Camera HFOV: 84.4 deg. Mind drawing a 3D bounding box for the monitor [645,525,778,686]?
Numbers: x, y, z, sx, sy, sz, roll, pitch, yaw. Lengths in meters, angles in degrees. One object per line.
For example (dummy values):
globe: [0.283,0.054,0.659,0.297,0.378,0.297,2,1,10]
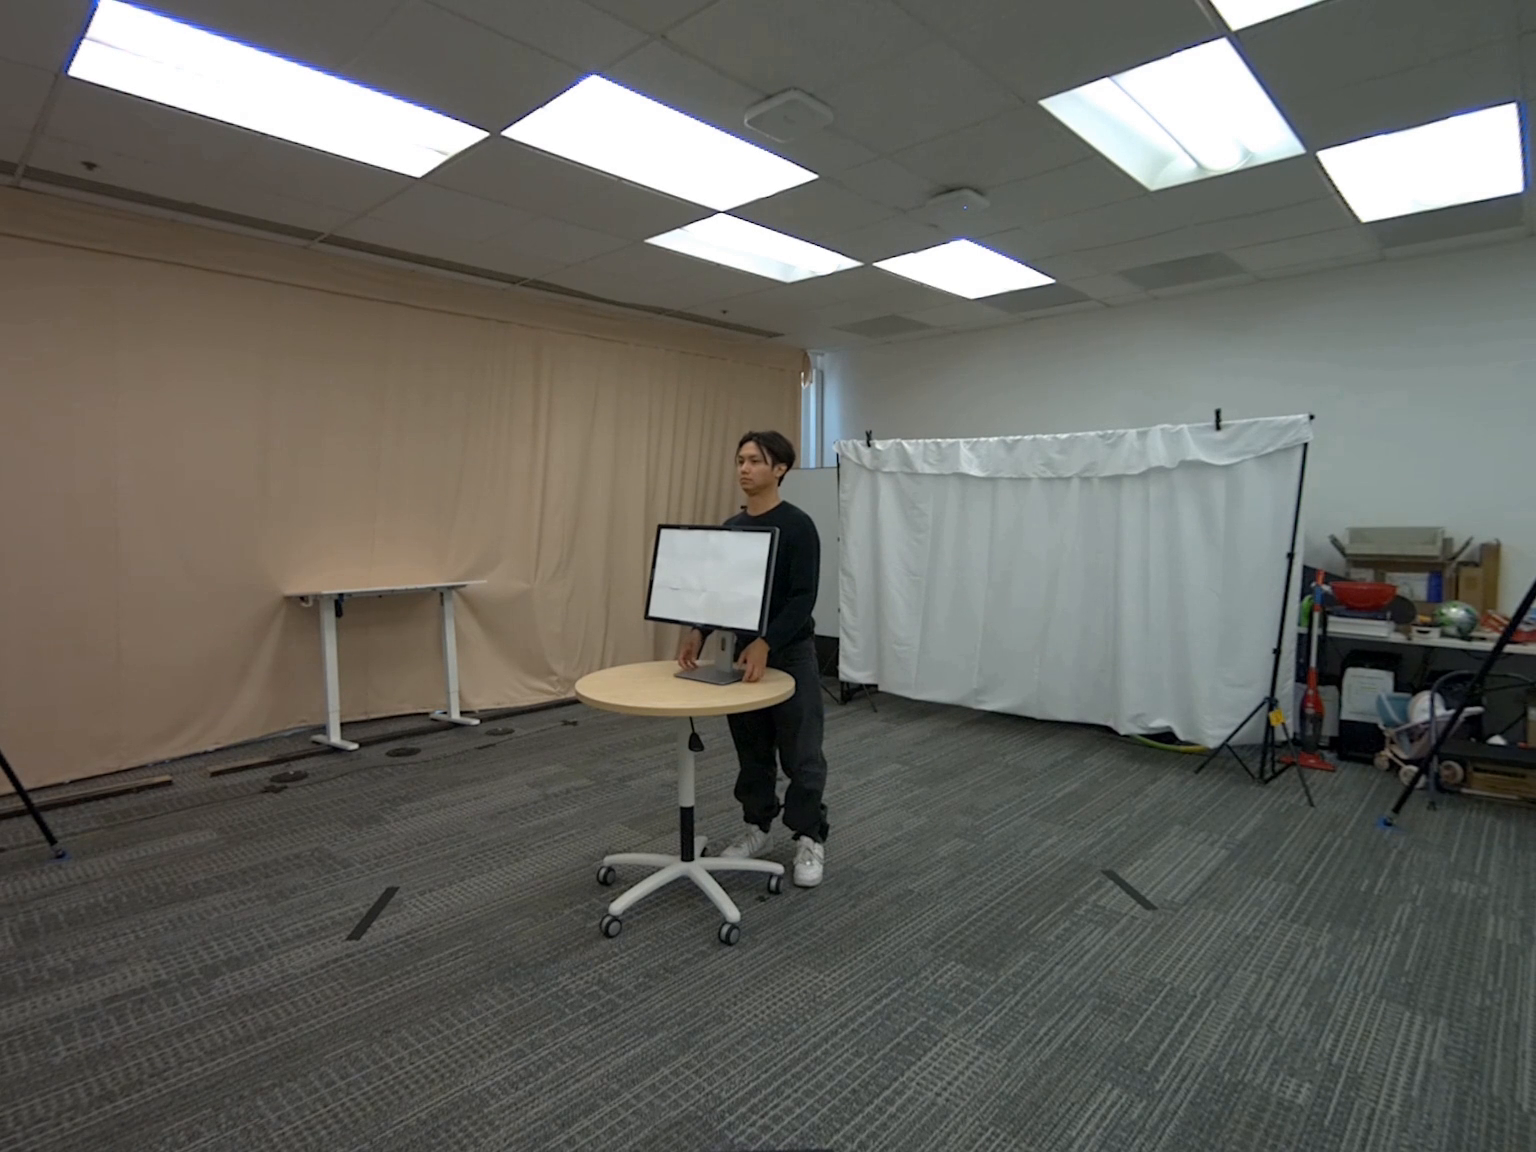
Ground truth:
monitor: [-0.185,0.092,3.008,0.557,0.521,0.181,3,5,39]
